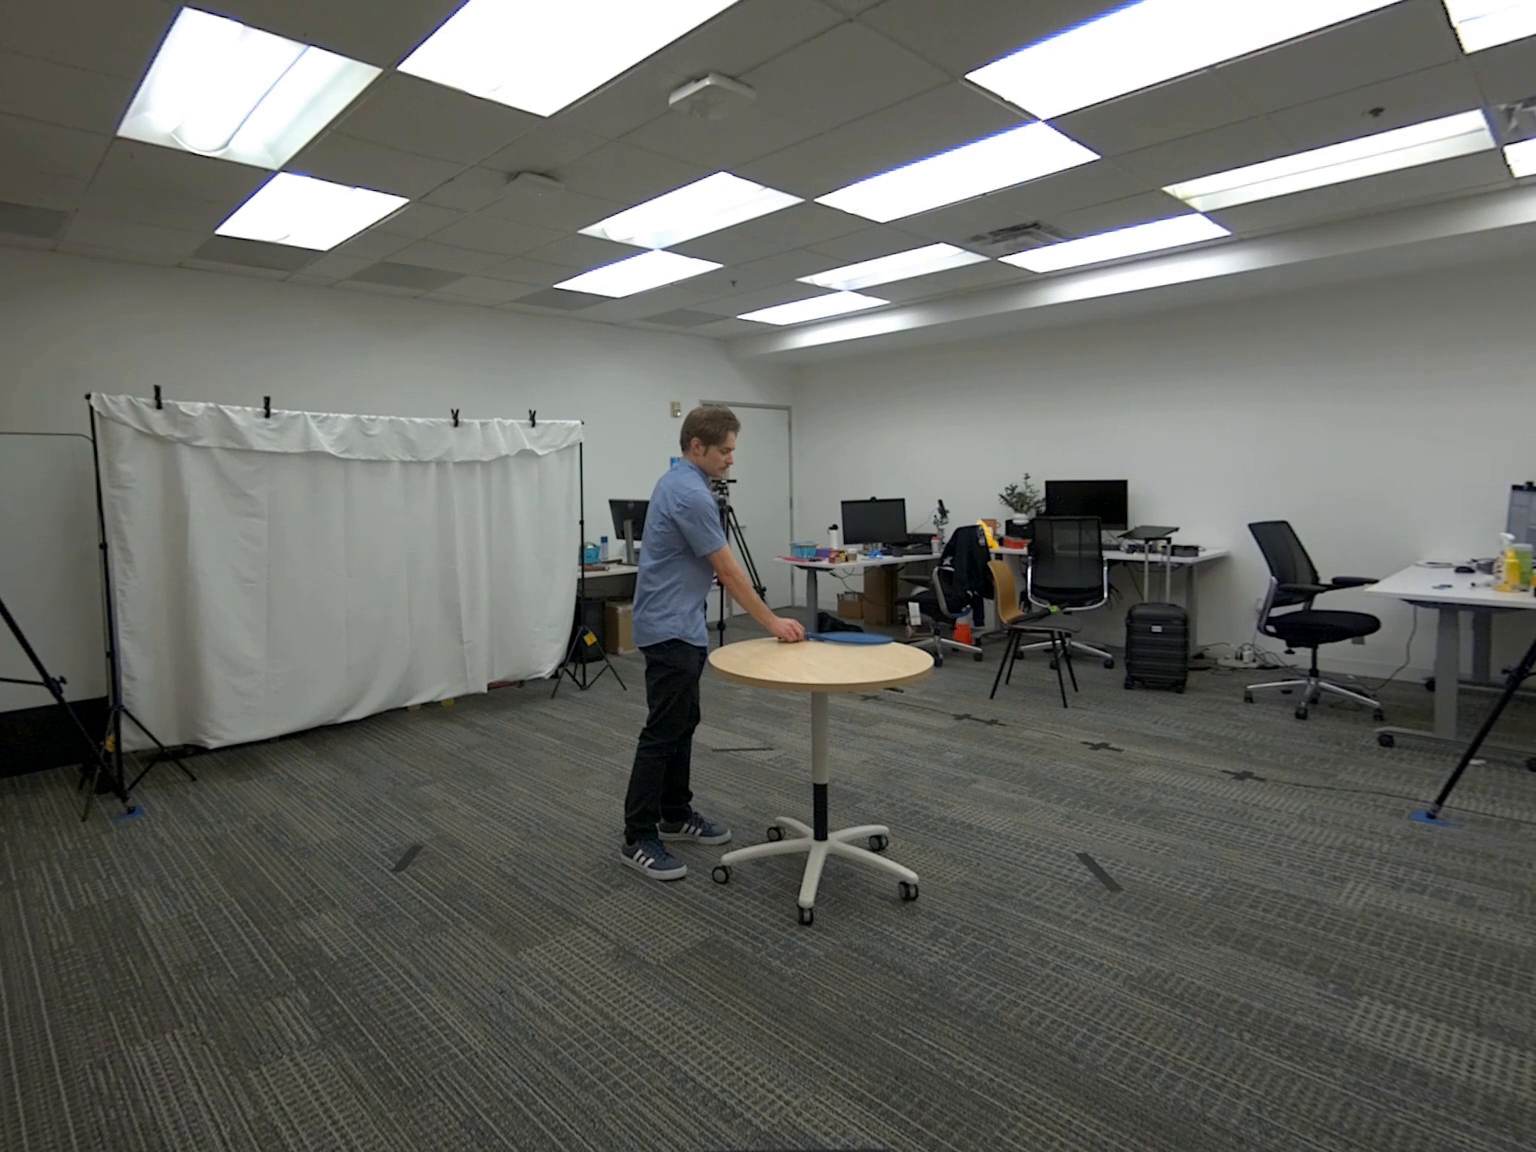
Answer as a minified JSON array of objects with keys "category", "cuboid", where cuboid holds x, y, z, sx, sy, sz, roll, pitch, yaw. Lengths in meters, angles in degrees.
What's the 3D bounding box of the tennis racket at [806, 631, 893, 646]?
[{"category":"tennis racket","cuboid":[0.258,0.236,3.230,0.435,0.031,0.213,2,6,5]}]
